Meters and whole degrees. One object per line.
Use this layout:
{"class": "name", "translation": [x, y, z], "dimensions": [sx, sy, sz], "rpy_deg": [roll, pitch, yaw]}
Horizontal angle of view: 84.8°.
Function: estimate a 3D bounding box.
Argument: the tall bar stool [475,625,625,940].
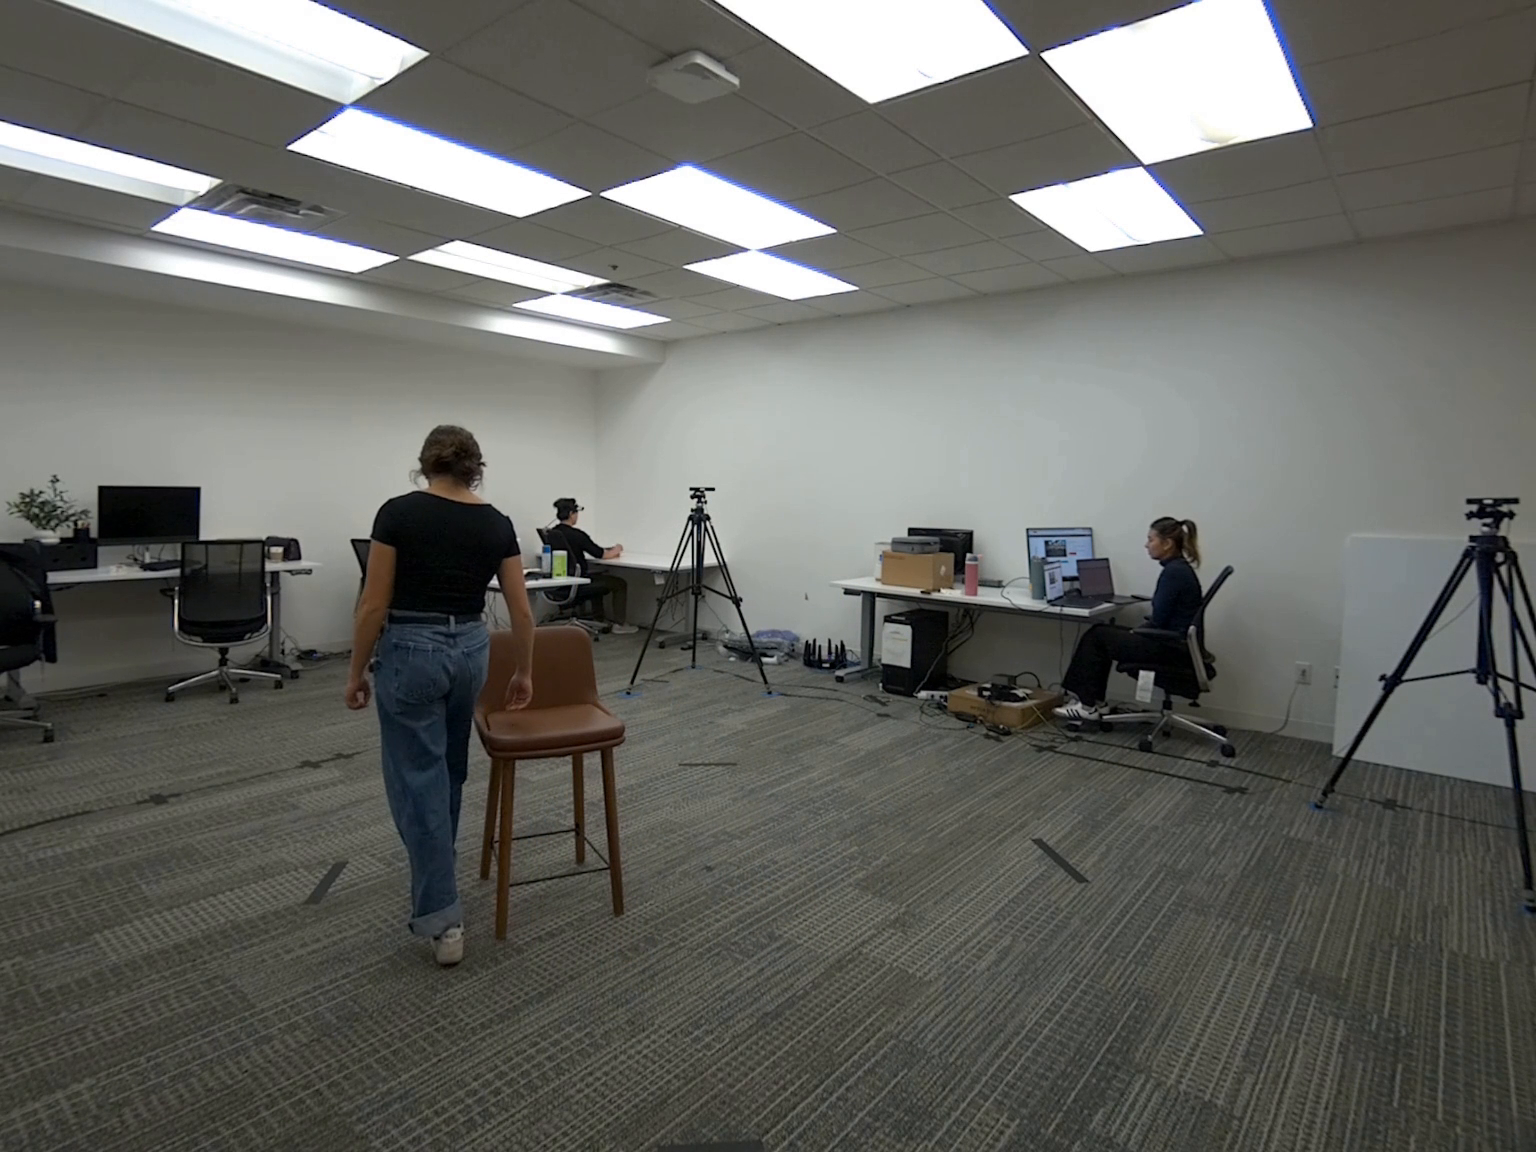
{"class": "tall bar stool", "translation": [-0.758, 0.644, 2.865], "dimensions": [0.445, 0.888, 0.480], "rpy_deg": [-1, 2, -26]}
